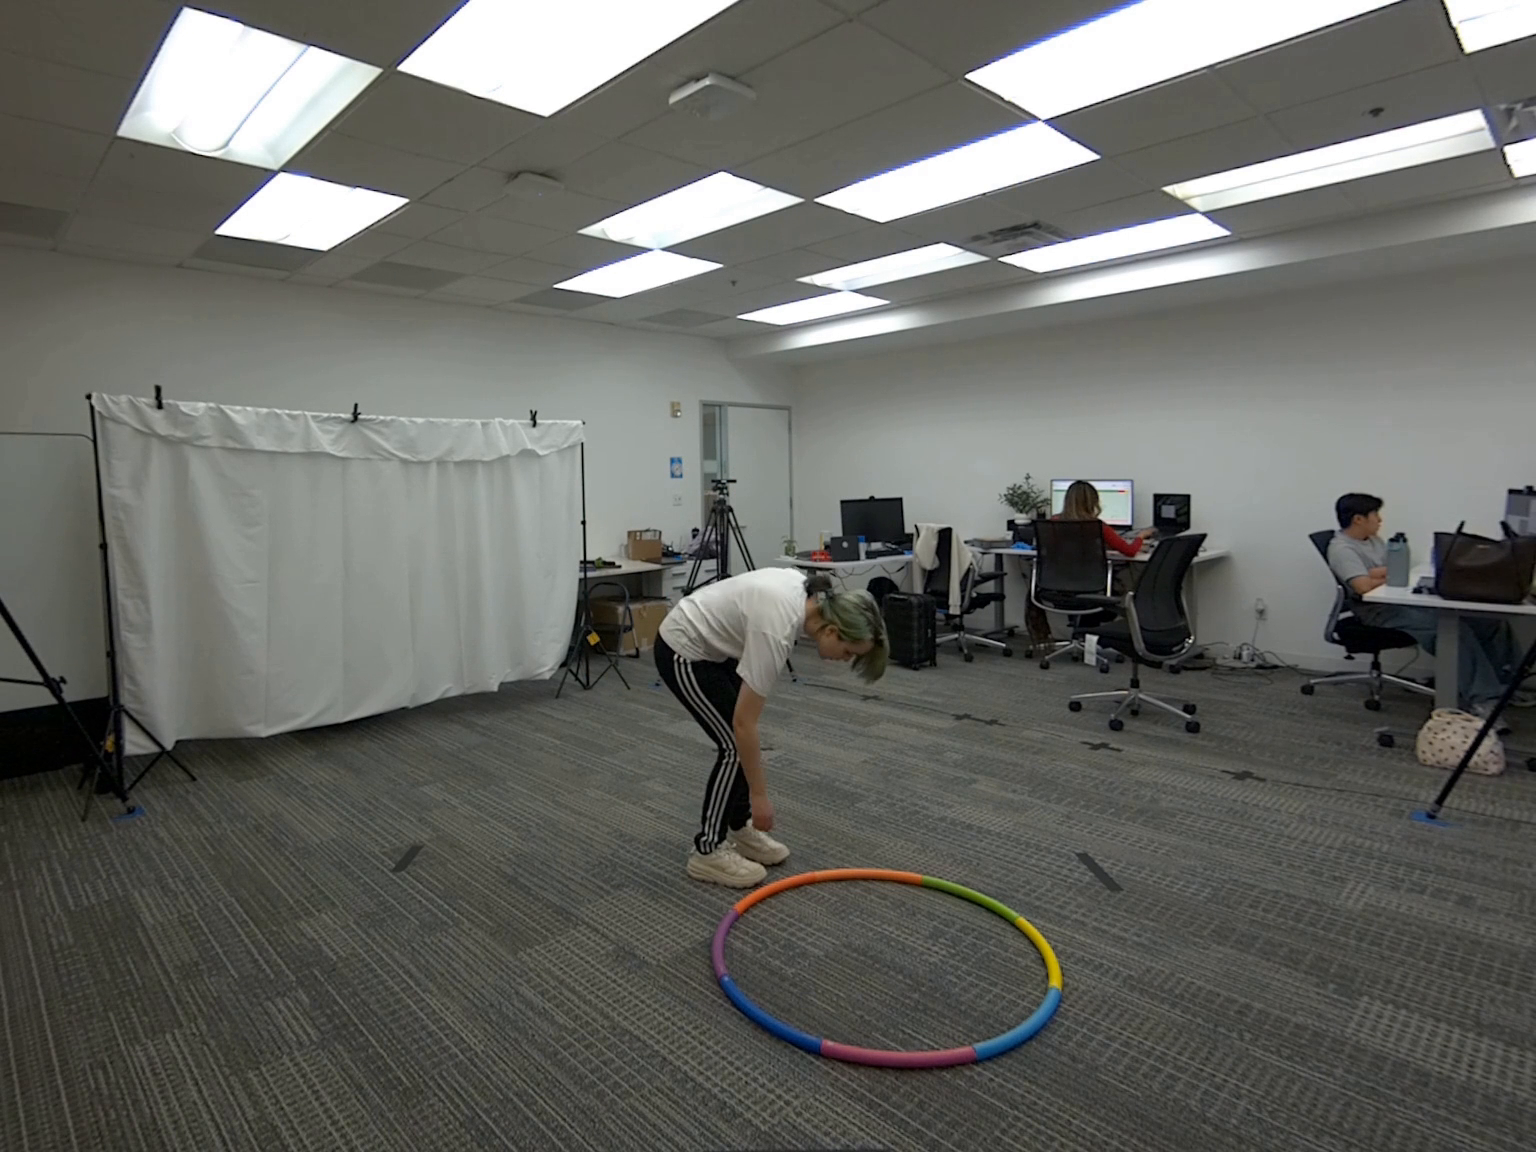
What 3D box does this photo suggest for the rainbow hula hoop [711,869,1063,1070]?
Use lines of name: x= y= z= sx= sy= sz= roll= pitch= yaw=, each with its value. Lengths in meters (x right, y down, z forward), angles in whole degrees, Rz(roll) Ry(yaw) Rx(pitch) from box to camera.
rainbow hula hoop: x=0.328 y=1.079 z=2.502 sx=0.978 sy=0.035 sz=0.984 roll=-2 pitch=6 yaw=-2
